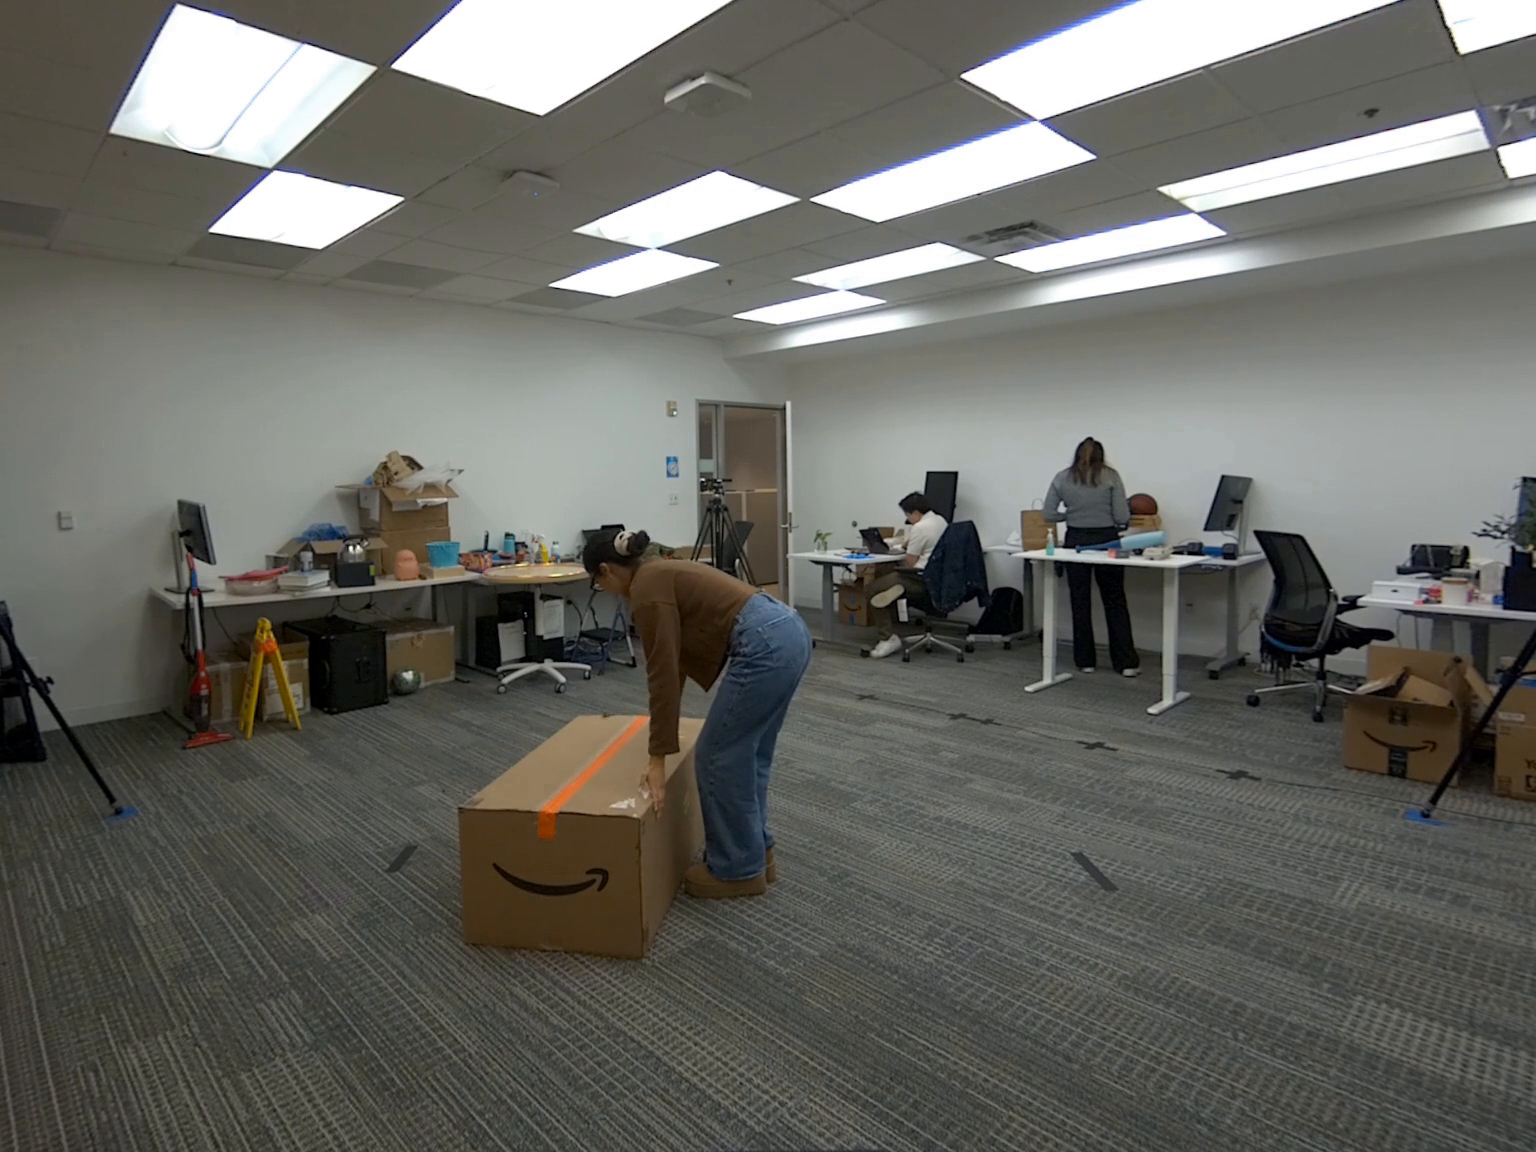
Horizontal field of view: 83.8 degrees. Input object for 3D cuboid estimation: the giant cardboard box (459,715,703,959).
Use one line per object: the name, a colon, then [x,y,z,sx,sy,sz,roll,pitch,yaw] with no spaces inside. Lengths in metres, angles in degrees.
giant cardboard box: [-0.582,0.843,3.034,0.583,0.424,1.021,0,6,8]
